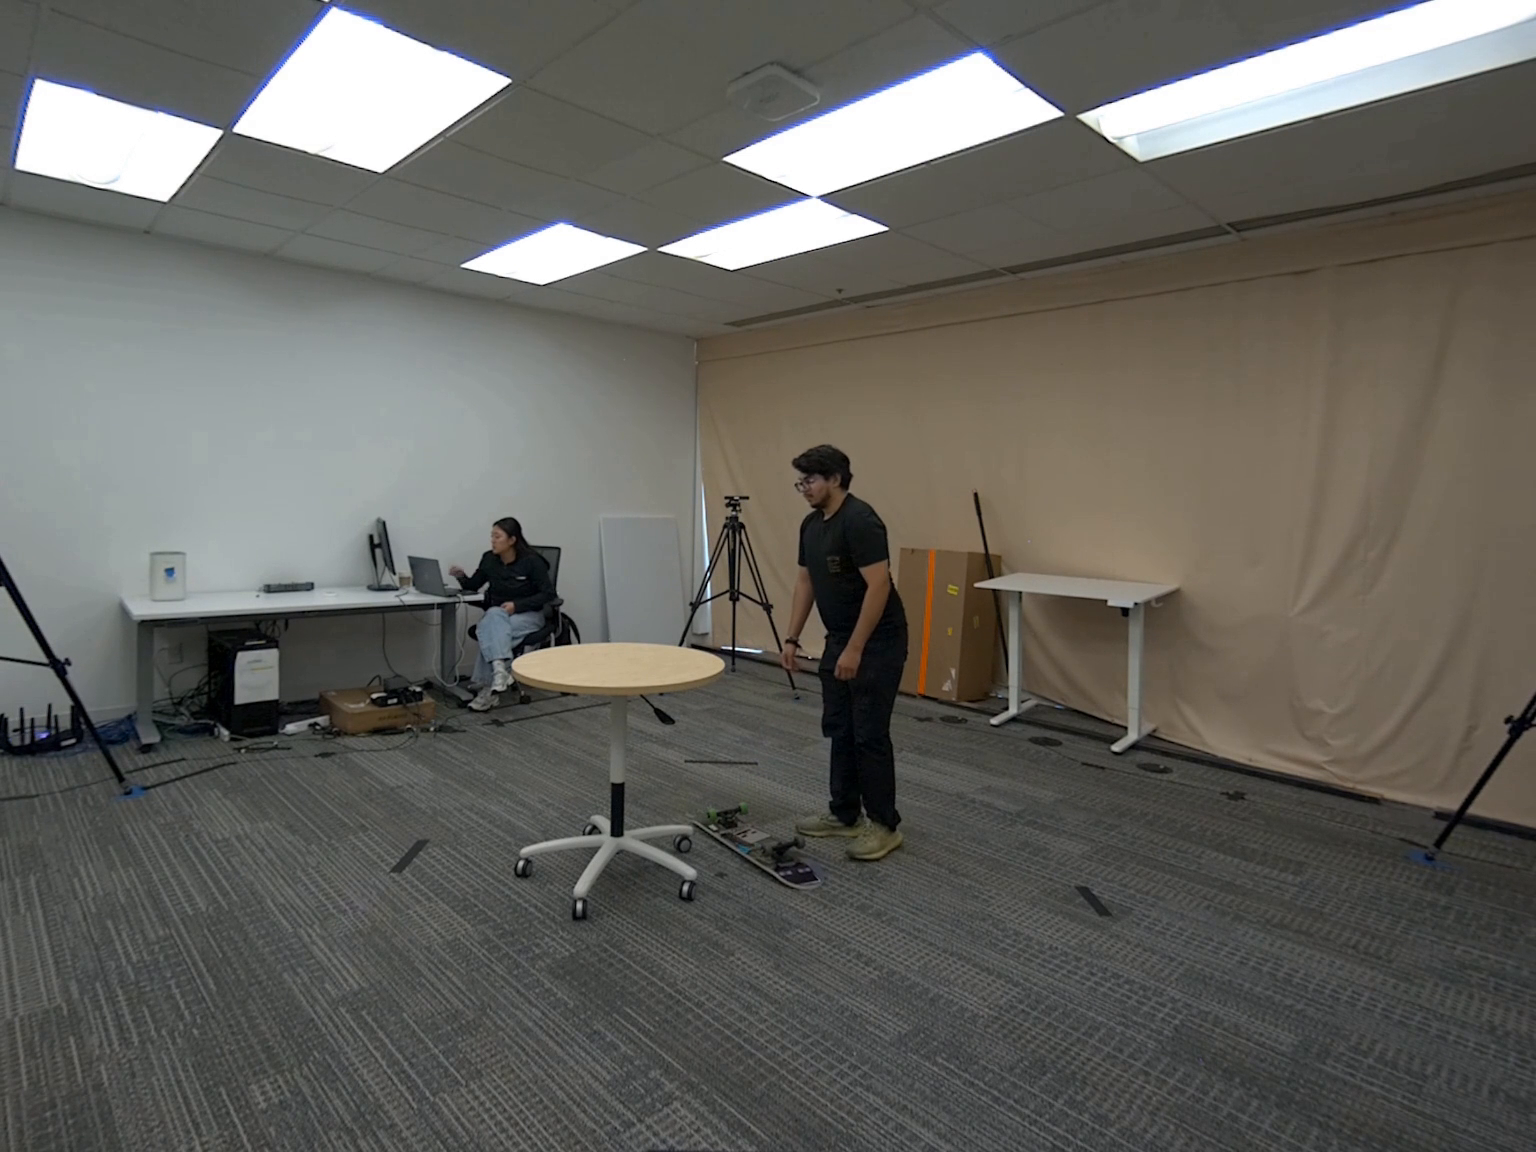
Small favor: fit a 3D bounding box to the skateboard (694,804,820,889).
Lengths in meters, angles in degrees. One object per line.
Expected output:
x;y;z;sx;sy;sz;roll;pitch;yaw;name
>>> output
-0.063;1.032;3.346;0.189;0.110;0.804;-1;6;-34;skateboard
